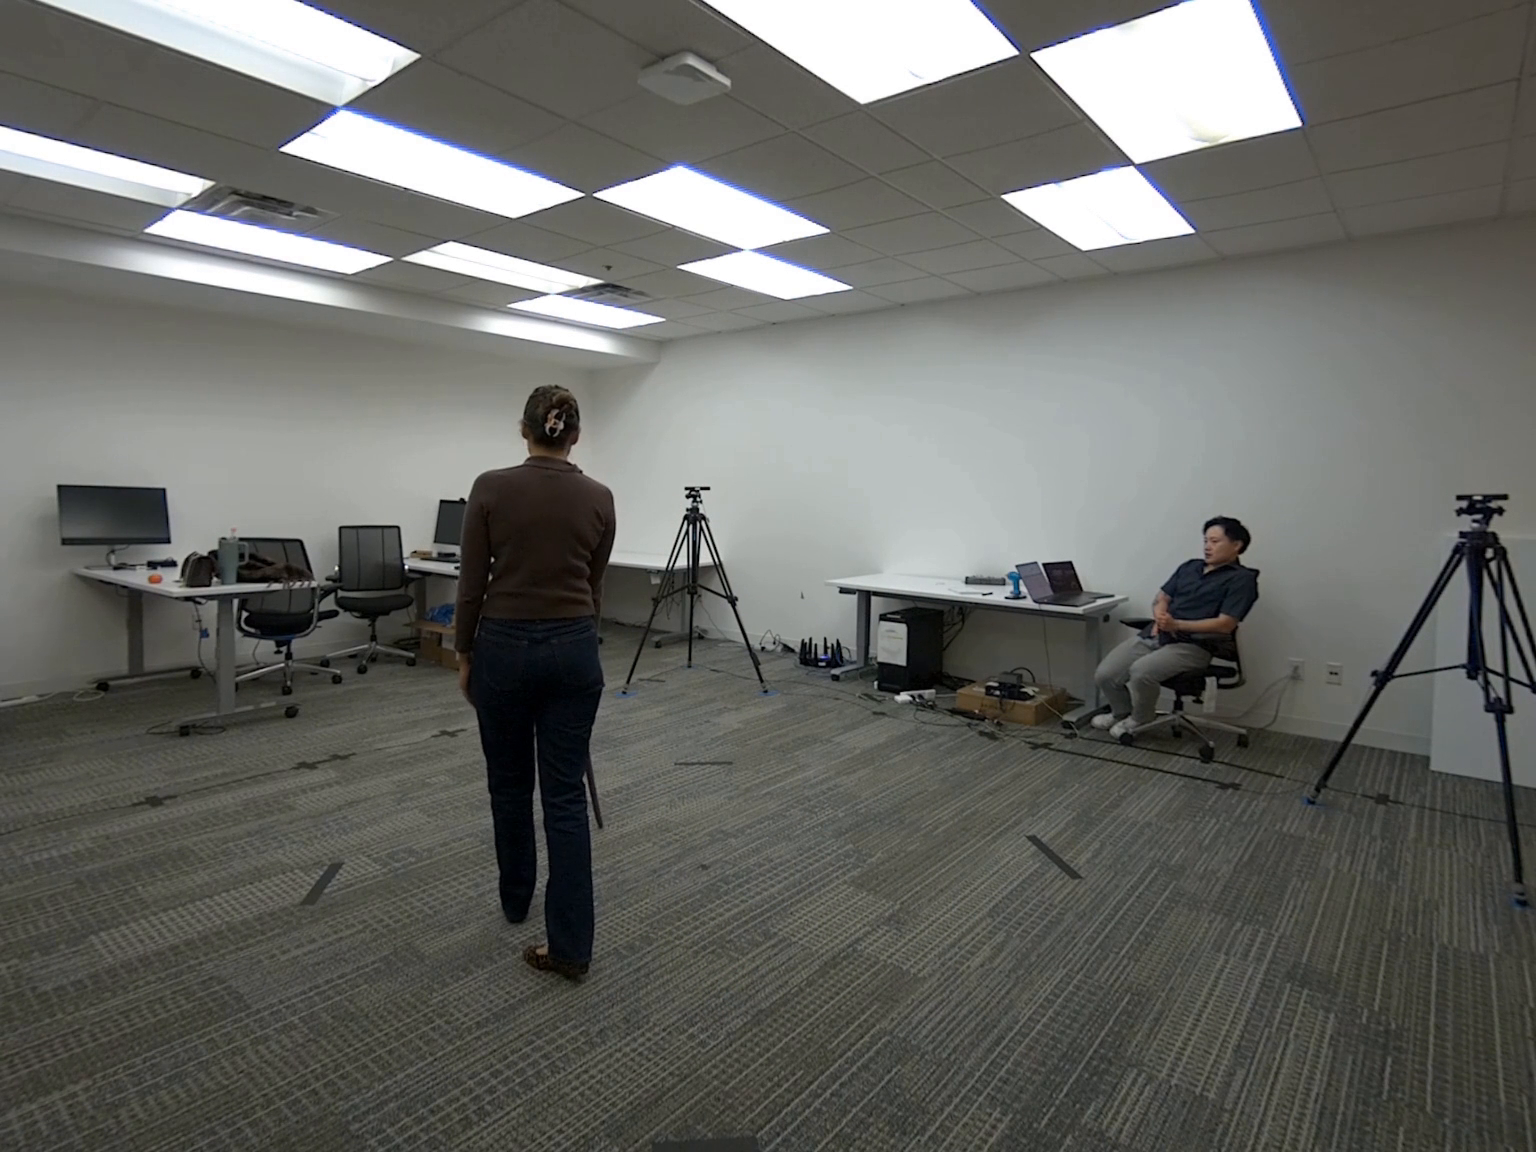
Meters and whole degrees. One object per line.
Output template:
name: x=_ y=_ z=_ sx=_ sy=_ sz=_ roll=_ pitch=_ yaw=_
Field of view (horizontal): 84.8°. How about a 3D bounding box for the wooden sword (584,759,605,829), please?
wooden sword: x=-0.682 y=0.676 z=3.127 sx=0.052 sy=0.997 sz=0.024 roll=12 pitch=45 yaw=7
